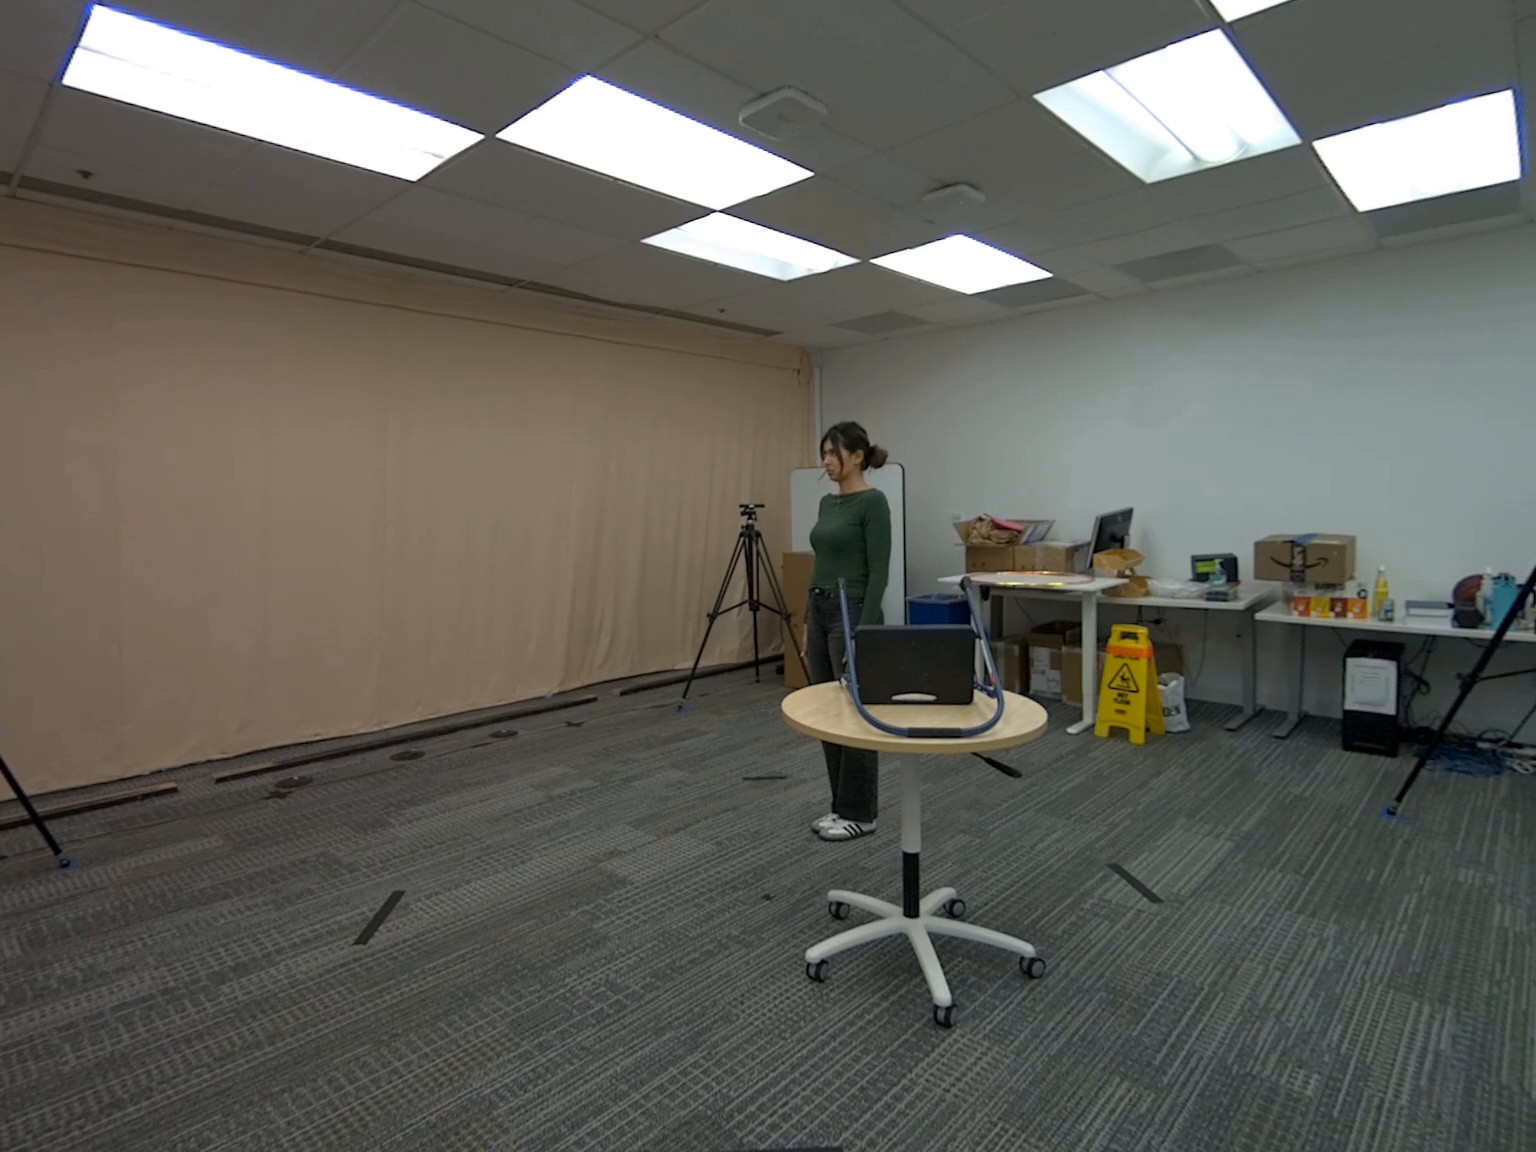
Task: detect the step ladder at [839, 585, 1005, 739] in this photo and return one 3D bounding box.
[{"bbox_3d":[0.437,0.263,2.450,0.432,0.346,0.610,-2,15,3],"label":"step ladder"}]
